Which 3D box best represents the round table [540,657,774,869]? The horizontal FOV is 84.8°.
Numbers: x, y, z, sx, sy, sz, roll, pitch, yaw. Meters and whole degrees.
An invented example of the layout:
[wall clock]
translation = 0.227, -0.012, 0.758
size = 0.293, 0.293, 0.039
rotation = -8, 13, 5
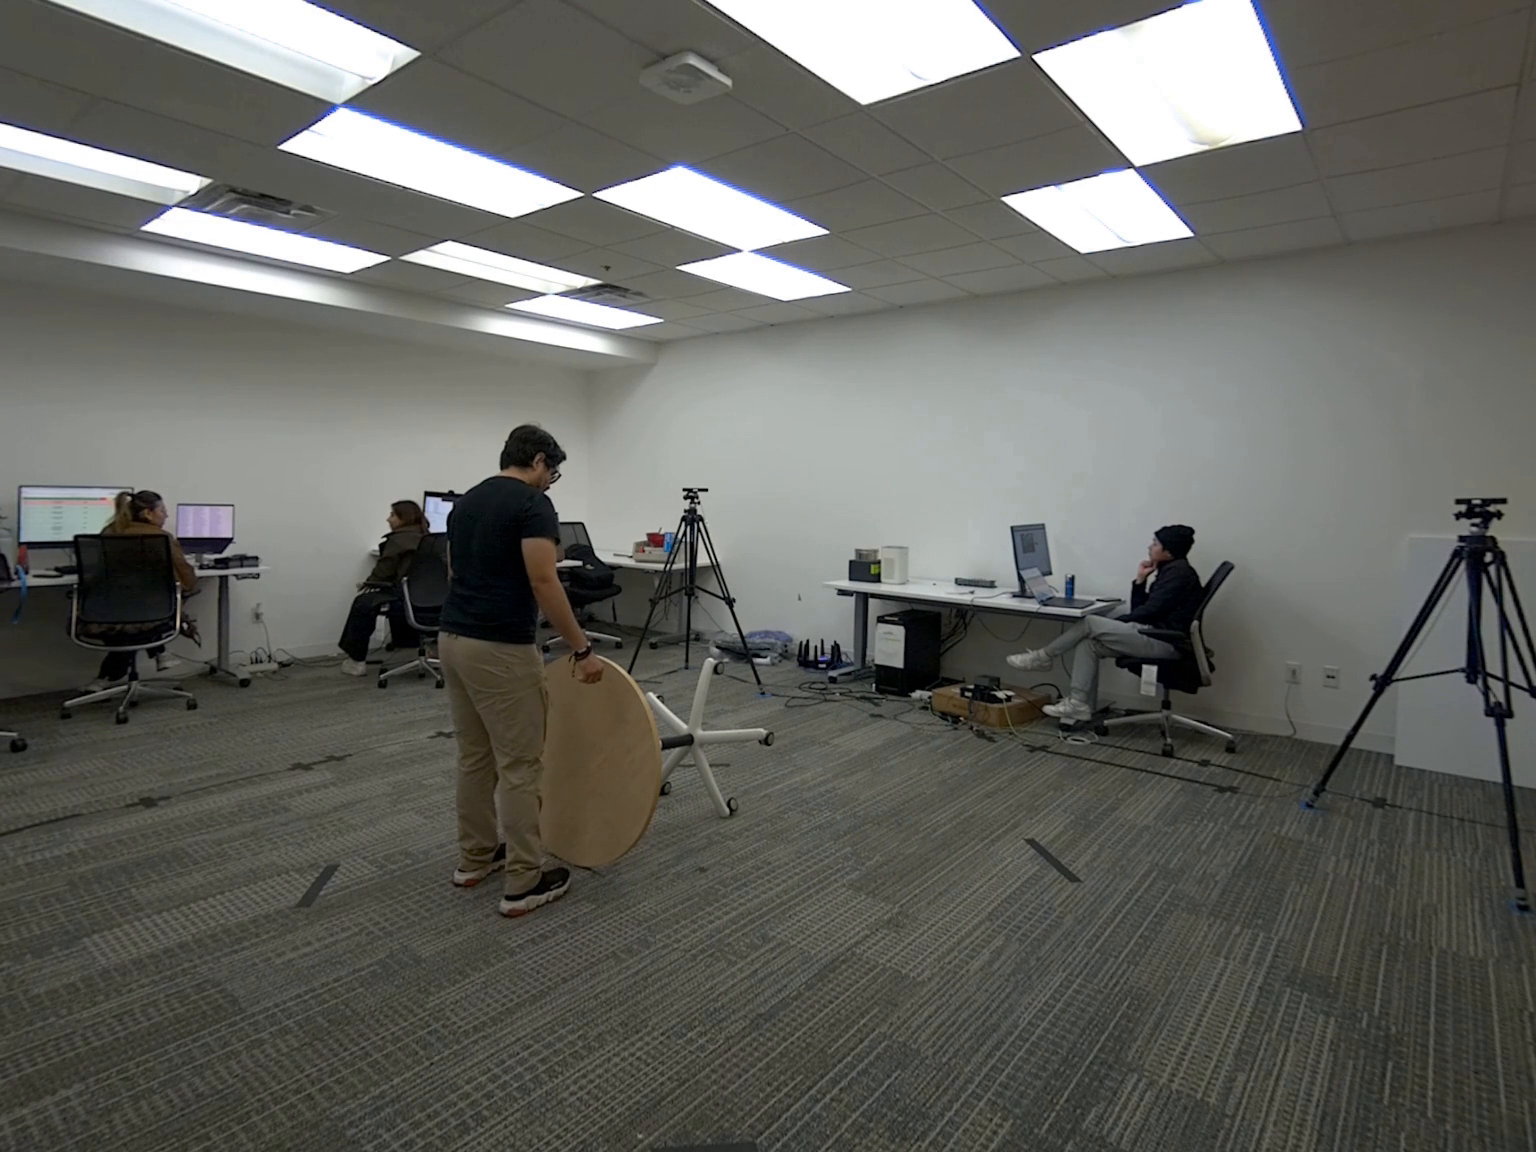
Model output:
[round table]
translation = -0.491, 0.697, 3.466
size = 0.811, 0.787, 0.760
rotation = 4, -2, 36
